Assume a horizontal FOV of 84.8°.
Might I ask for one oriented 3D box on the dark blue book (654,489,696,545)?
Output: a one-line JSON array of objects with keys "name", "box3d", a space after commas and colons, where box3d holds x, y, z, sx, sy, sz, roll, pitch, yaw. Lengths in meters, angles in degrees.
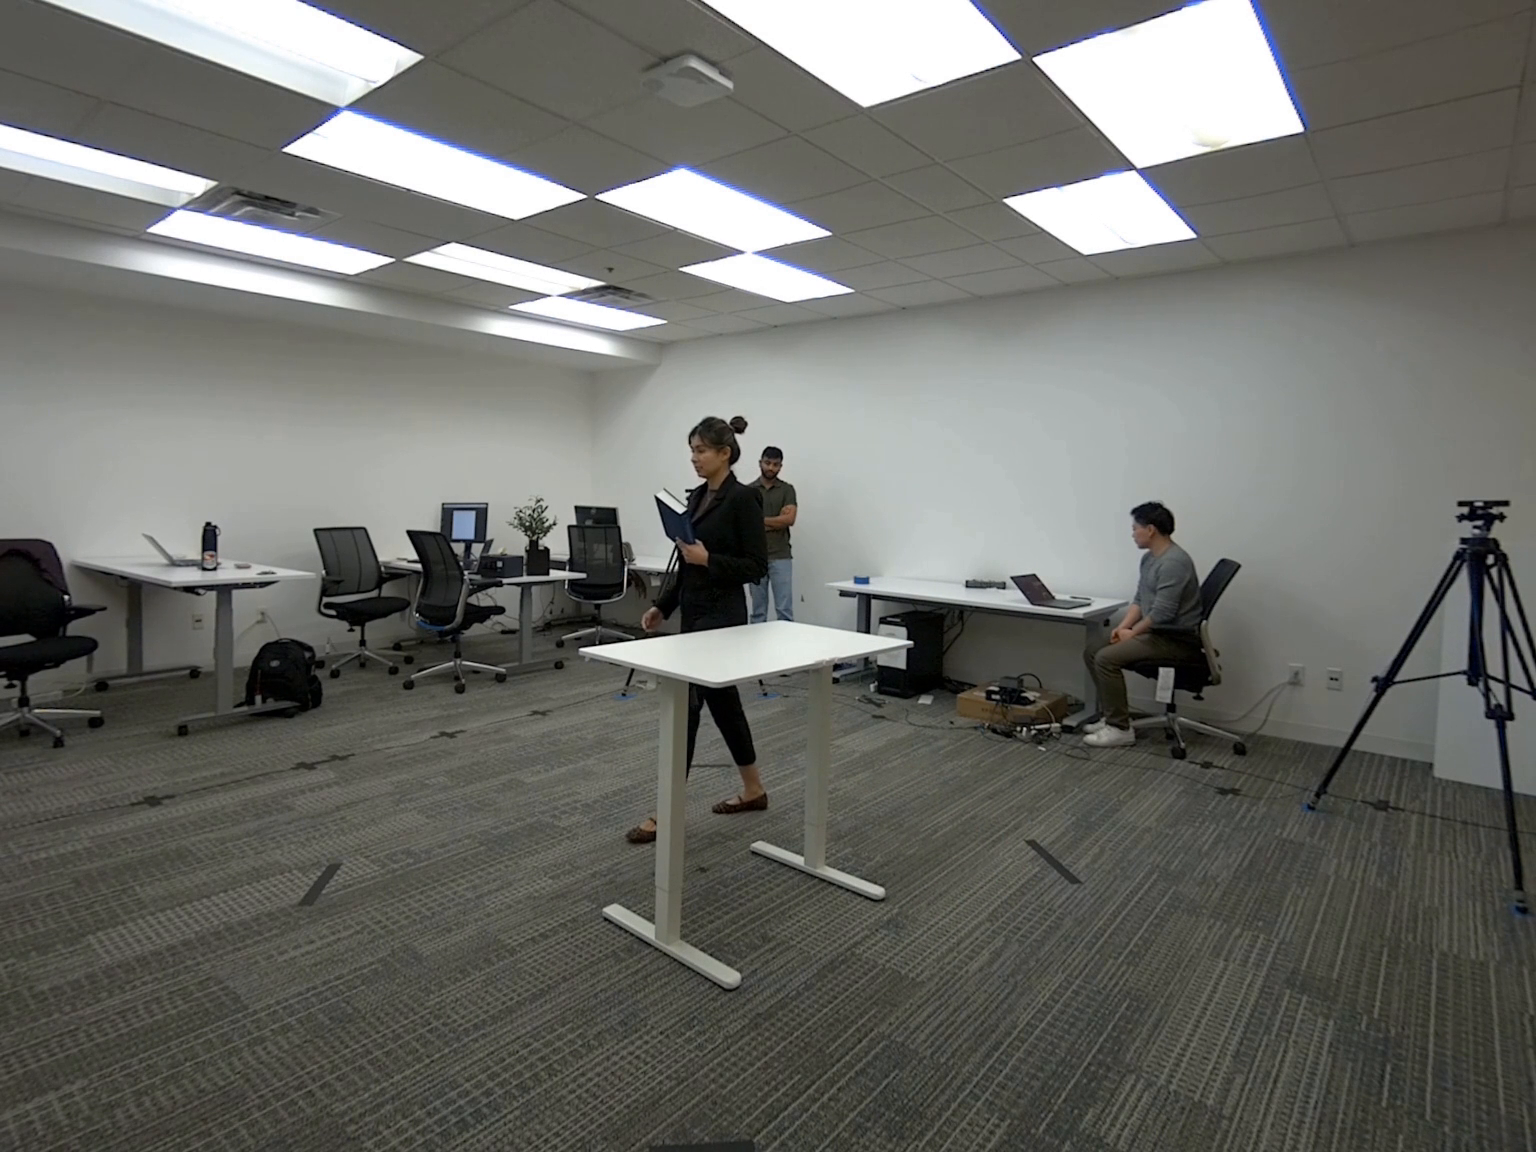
[{"name": "dark blue book", "box3d": [-0.368, -0.217, 3.330, 0.045, 0.237, 0.170, -34, 54, -20]}]
